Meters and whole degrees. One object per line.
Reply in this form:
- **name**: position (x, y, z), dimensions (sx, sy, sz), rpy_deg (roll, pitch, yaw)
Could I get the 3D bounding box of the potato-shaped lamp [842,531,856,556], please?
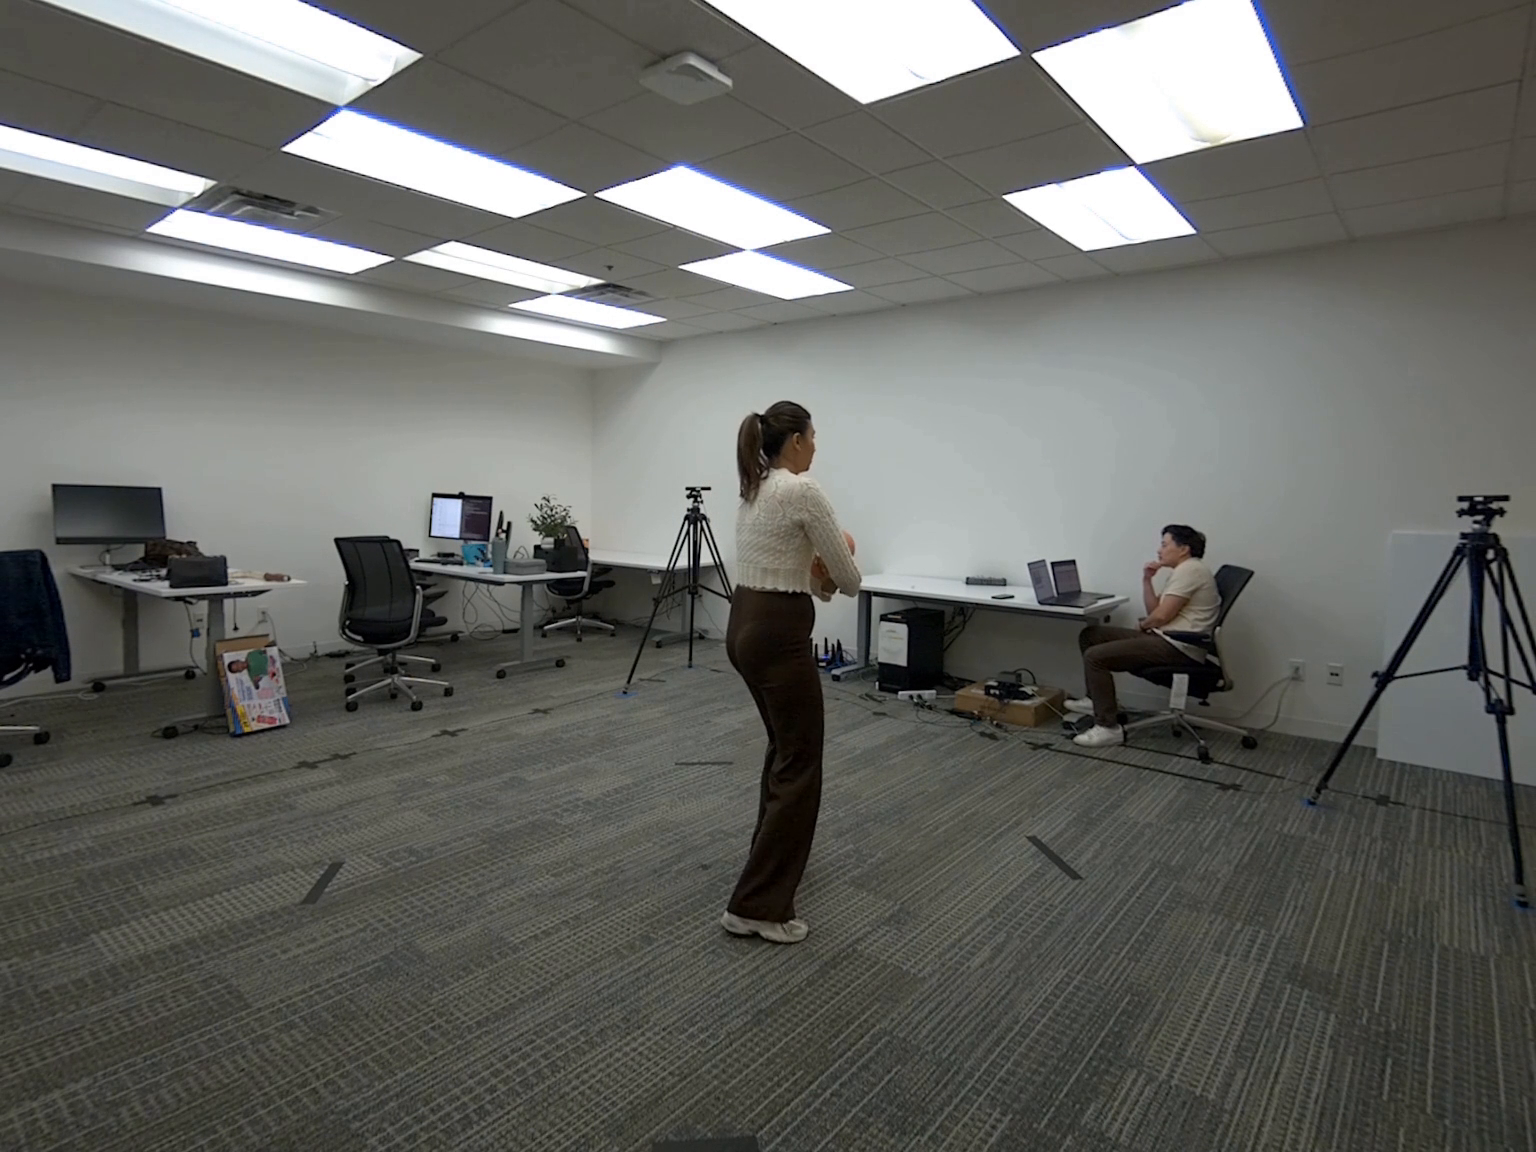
- **potato-shaped lamp**: position (0.205, -0.092, 2.937), dimensions (0.161, 0.174, 0.199), rpy_deg (29, -40, -17)
